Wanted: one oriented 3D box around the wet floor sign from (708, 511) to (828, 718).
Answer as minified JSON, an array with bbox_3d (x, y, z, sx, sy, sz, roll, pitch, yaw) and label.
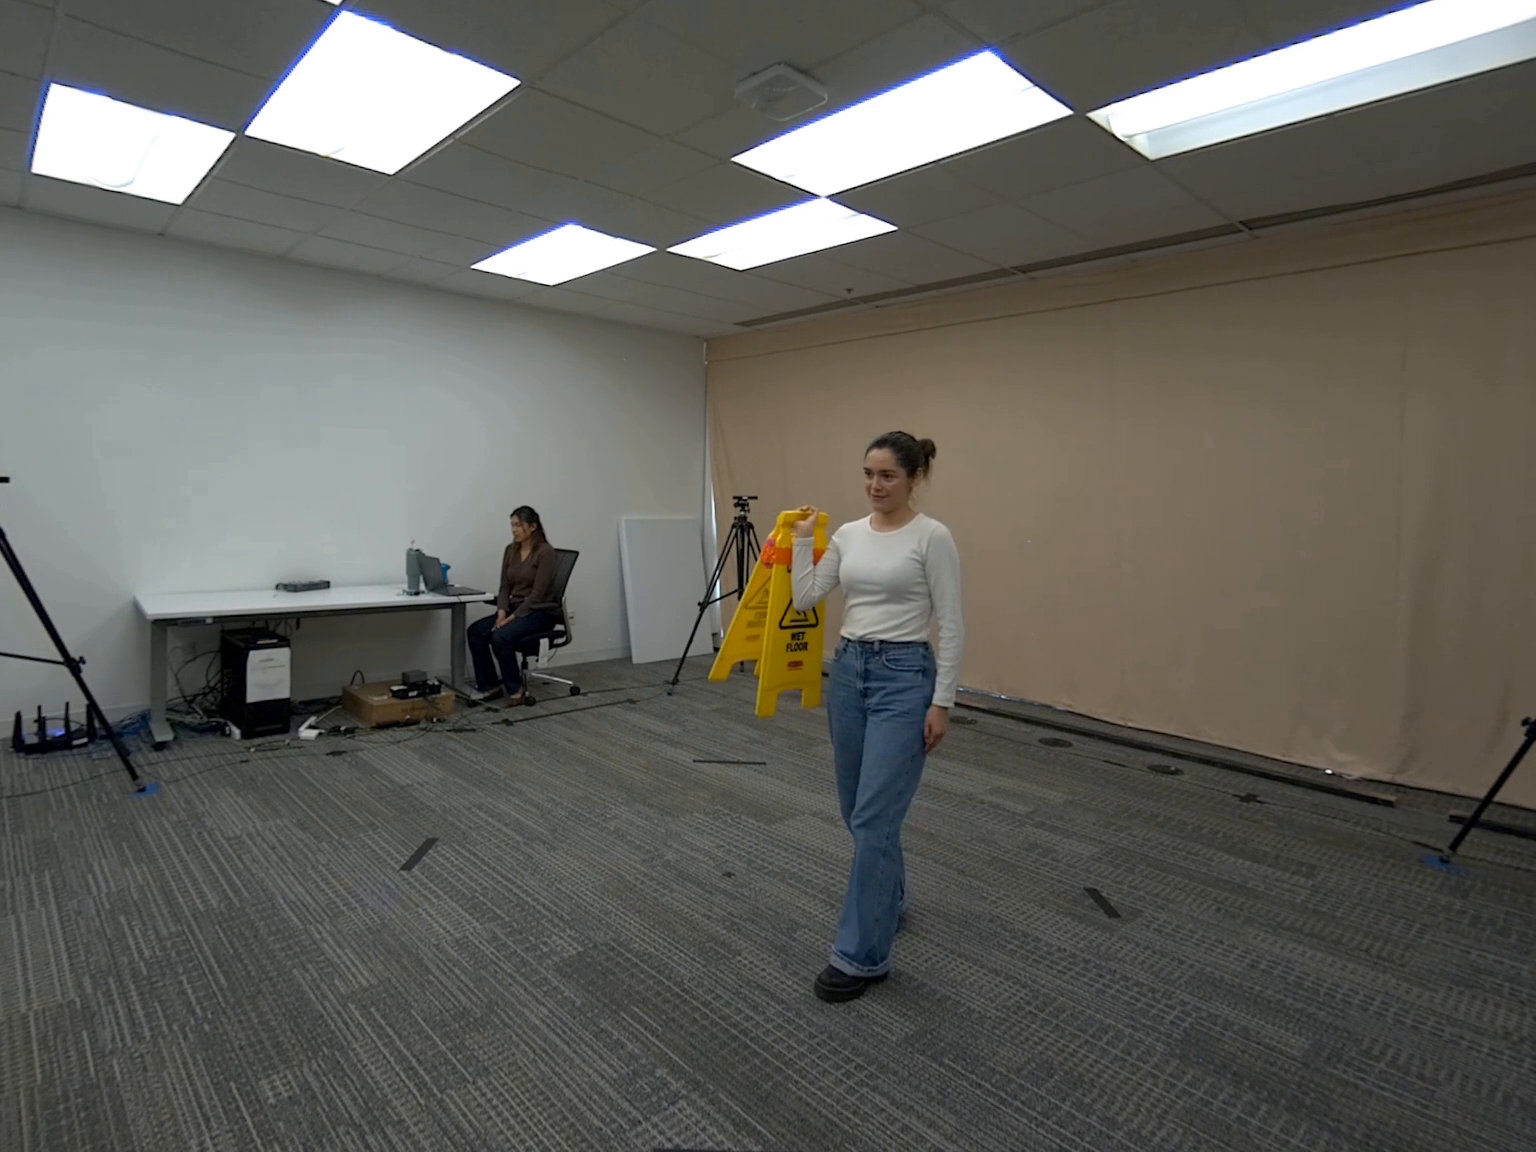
[{"bbox_3d":[0.049,0.097,2.778,0.275,0.641,0.299,0,18,-41],"label":"wet floor sign"}]
